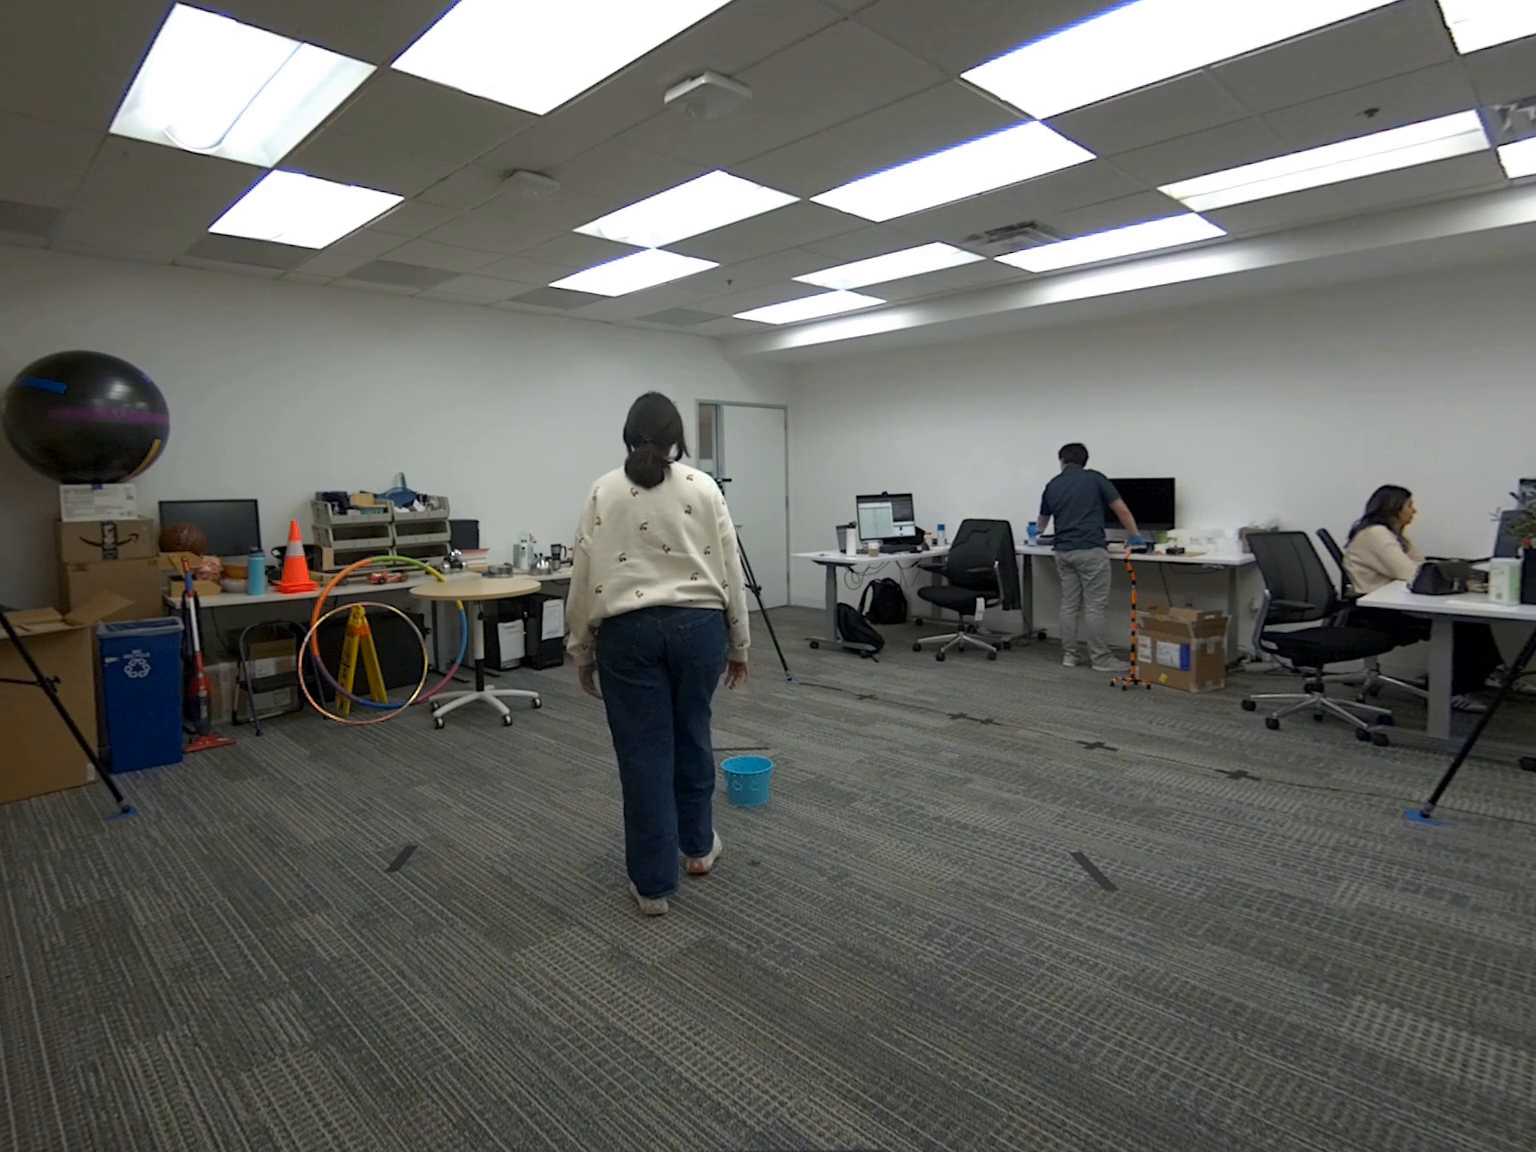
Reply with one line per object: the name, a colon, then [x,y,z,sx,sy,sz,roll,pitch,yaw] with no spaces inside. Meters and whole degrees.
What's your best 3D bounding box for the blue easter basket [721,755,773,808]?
blue easter basket: [-0.082,0.893,3.735,0.243,0.155,0.245,-2,6,-2]
